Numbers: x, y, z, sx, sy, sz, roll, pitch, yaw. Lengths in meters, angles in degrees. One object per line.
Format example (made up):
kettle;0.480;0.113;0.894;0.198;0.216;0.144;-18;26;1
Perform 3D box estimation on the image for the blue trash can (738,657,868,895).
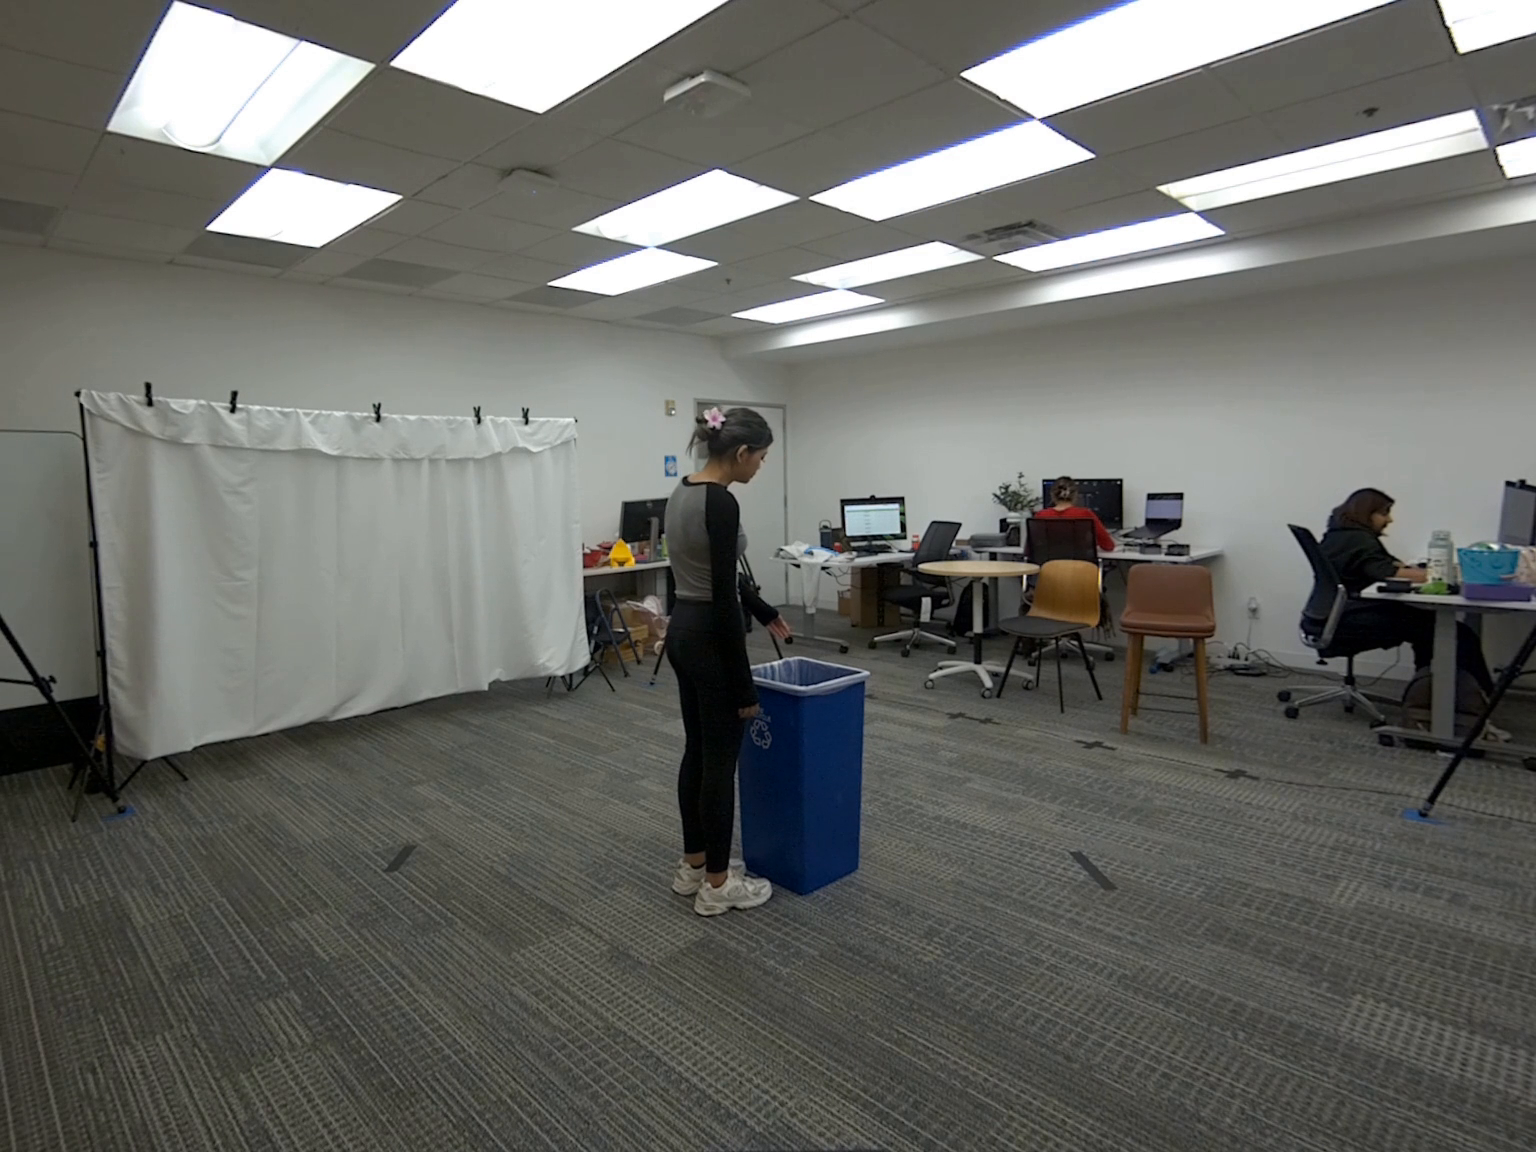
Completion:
blue trash can;0.123;0.689;3.033;0.368;0.711;0.385;-5;6;-43
